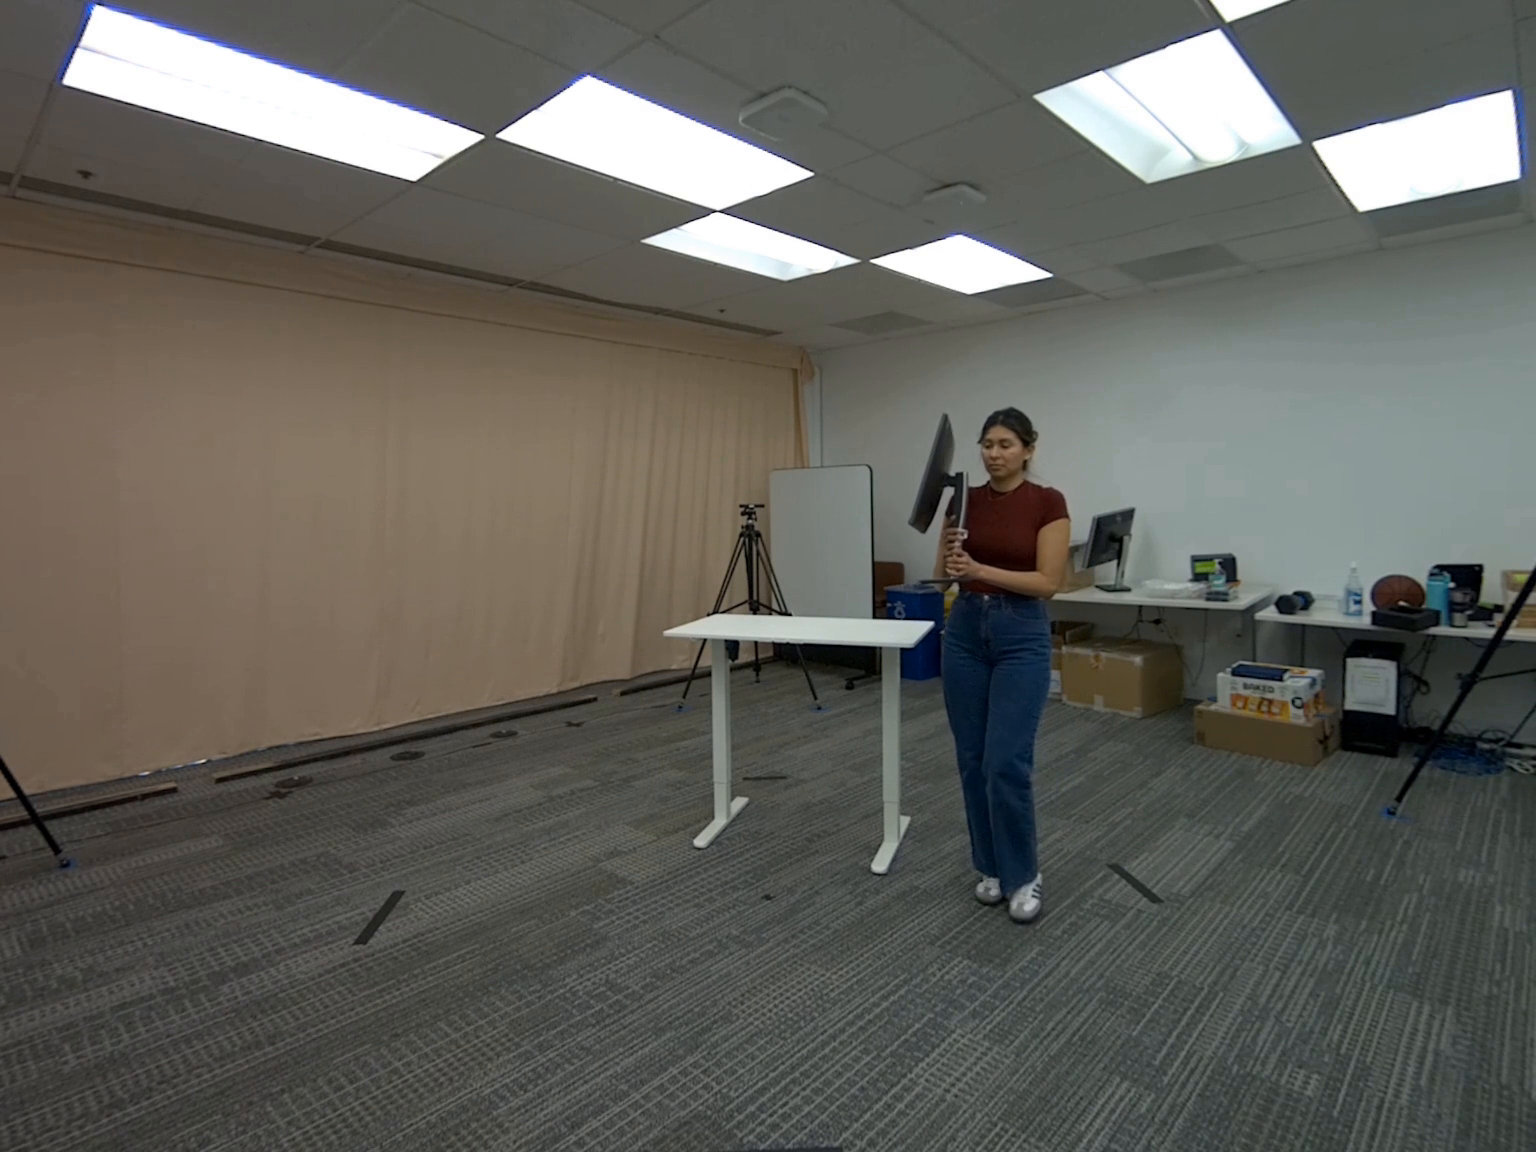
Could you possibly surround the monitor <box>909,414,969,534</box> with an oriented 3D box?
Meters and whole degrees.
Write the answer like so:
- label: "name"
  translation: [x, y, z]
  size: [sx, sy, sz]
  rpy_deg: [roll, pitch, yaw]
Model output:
- label: "monitor"
  translation: [0.582, -0.233, 2.788]
  size: [0.190, 0.523, 0.530]
  rpy_deg: [3, 0, 13]
